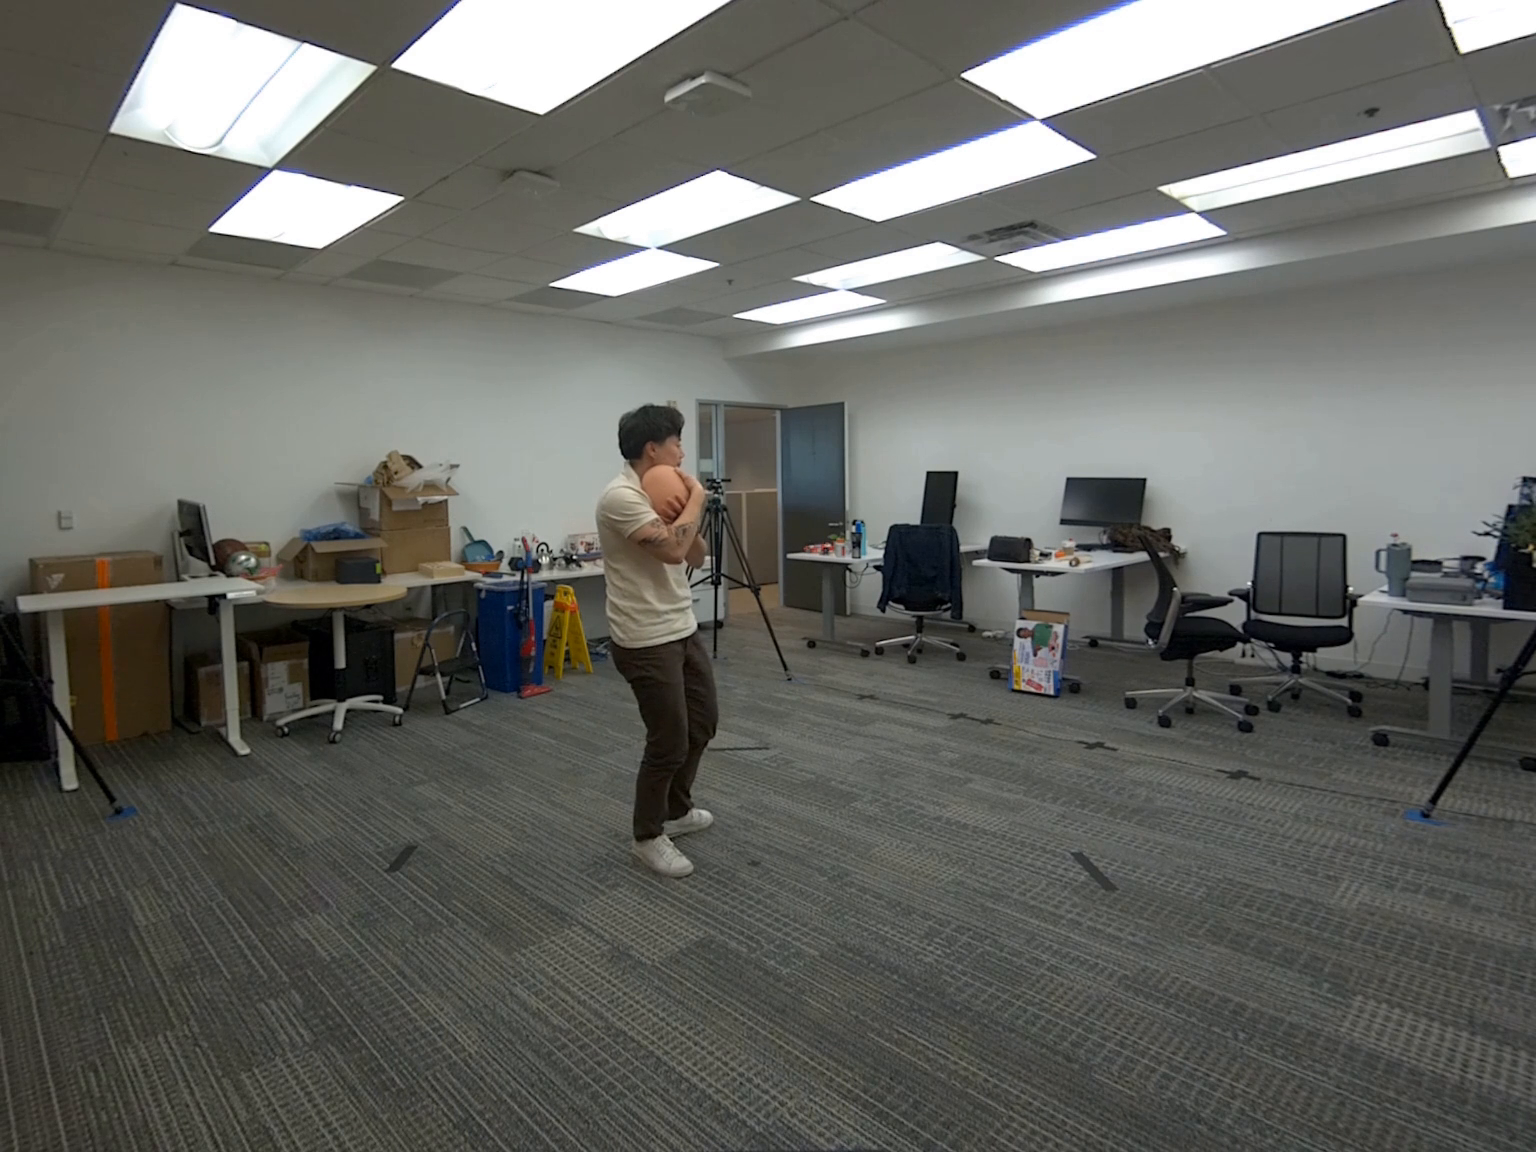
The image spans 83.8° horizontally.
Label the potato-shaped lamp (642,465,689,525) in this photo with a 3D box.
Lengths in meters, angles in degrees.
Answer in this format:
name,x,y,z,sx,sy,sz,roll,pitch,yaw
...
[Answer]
name,x,y,z,sx,sy,sz,roll,pitch,yaw
potato-shaped lamp,-0.360,-0.292,2.987,0.165,0.198,0.171,-41,3,37
